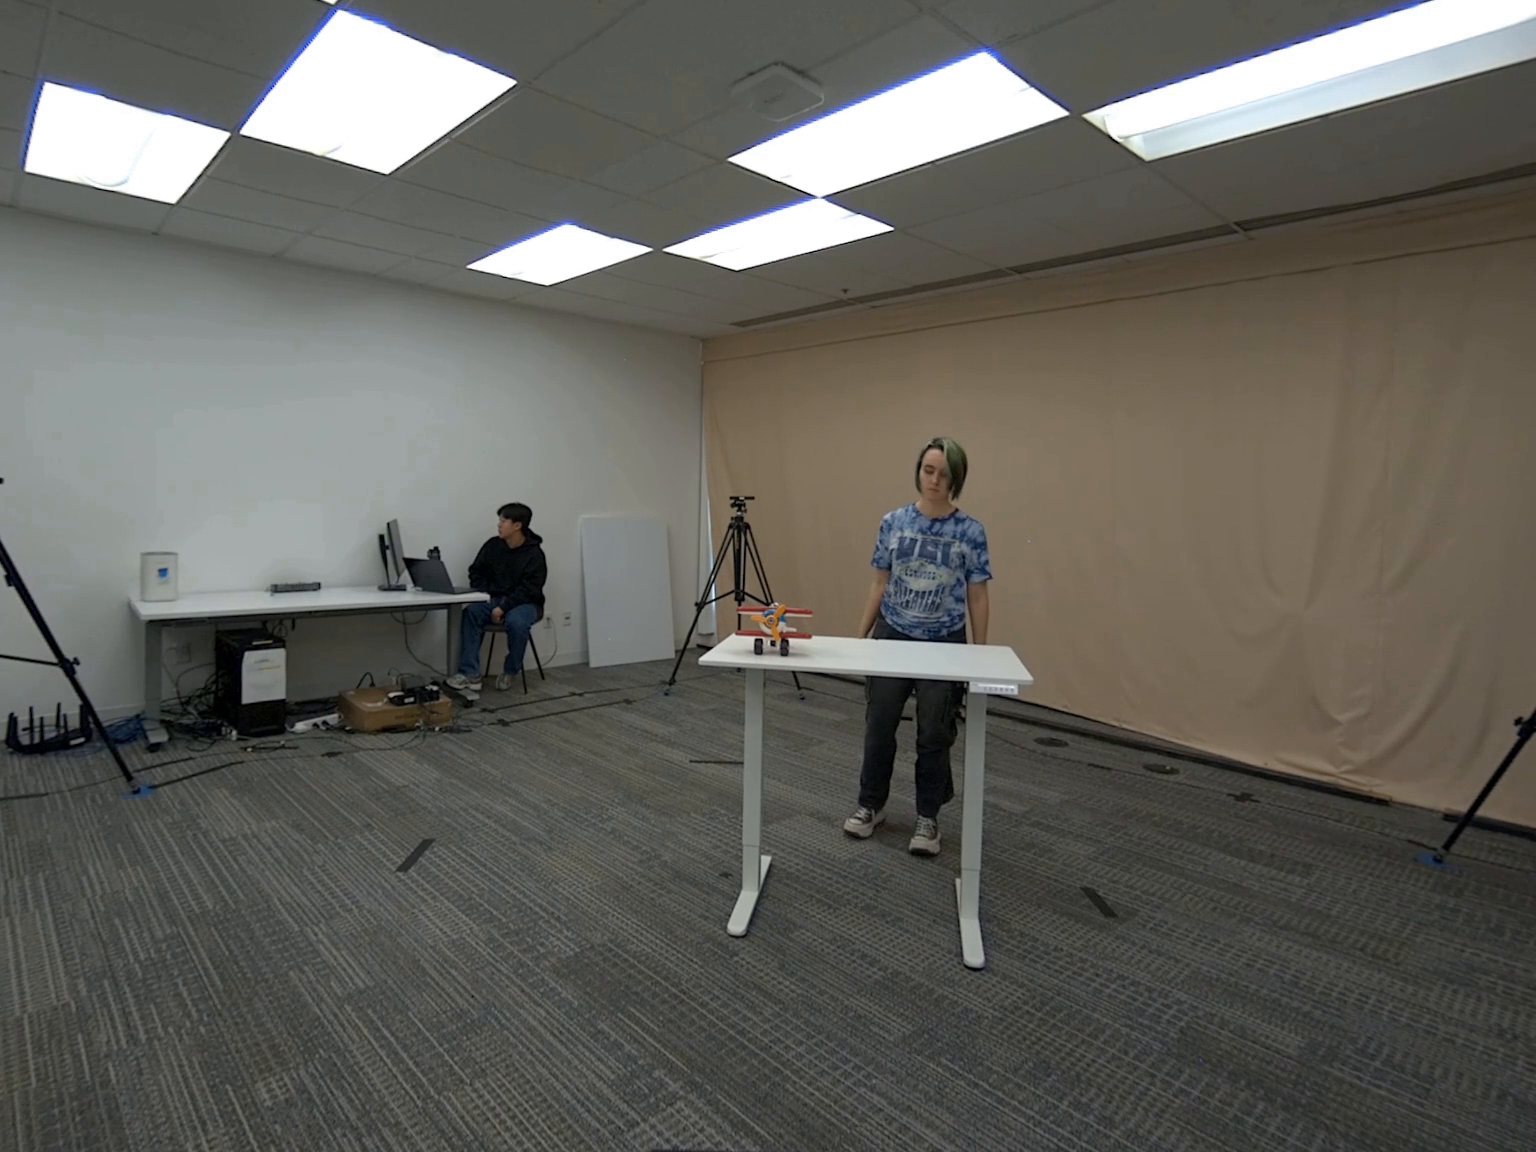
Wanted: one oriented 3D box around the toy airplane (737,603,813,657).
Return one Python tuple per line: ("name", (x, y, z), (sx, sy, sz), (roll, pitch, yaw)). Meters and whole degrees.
("toy airplane", (0.003, 0.176, 2.823), (0.247, 0.156, 0.264), (-1, 6, -21))
